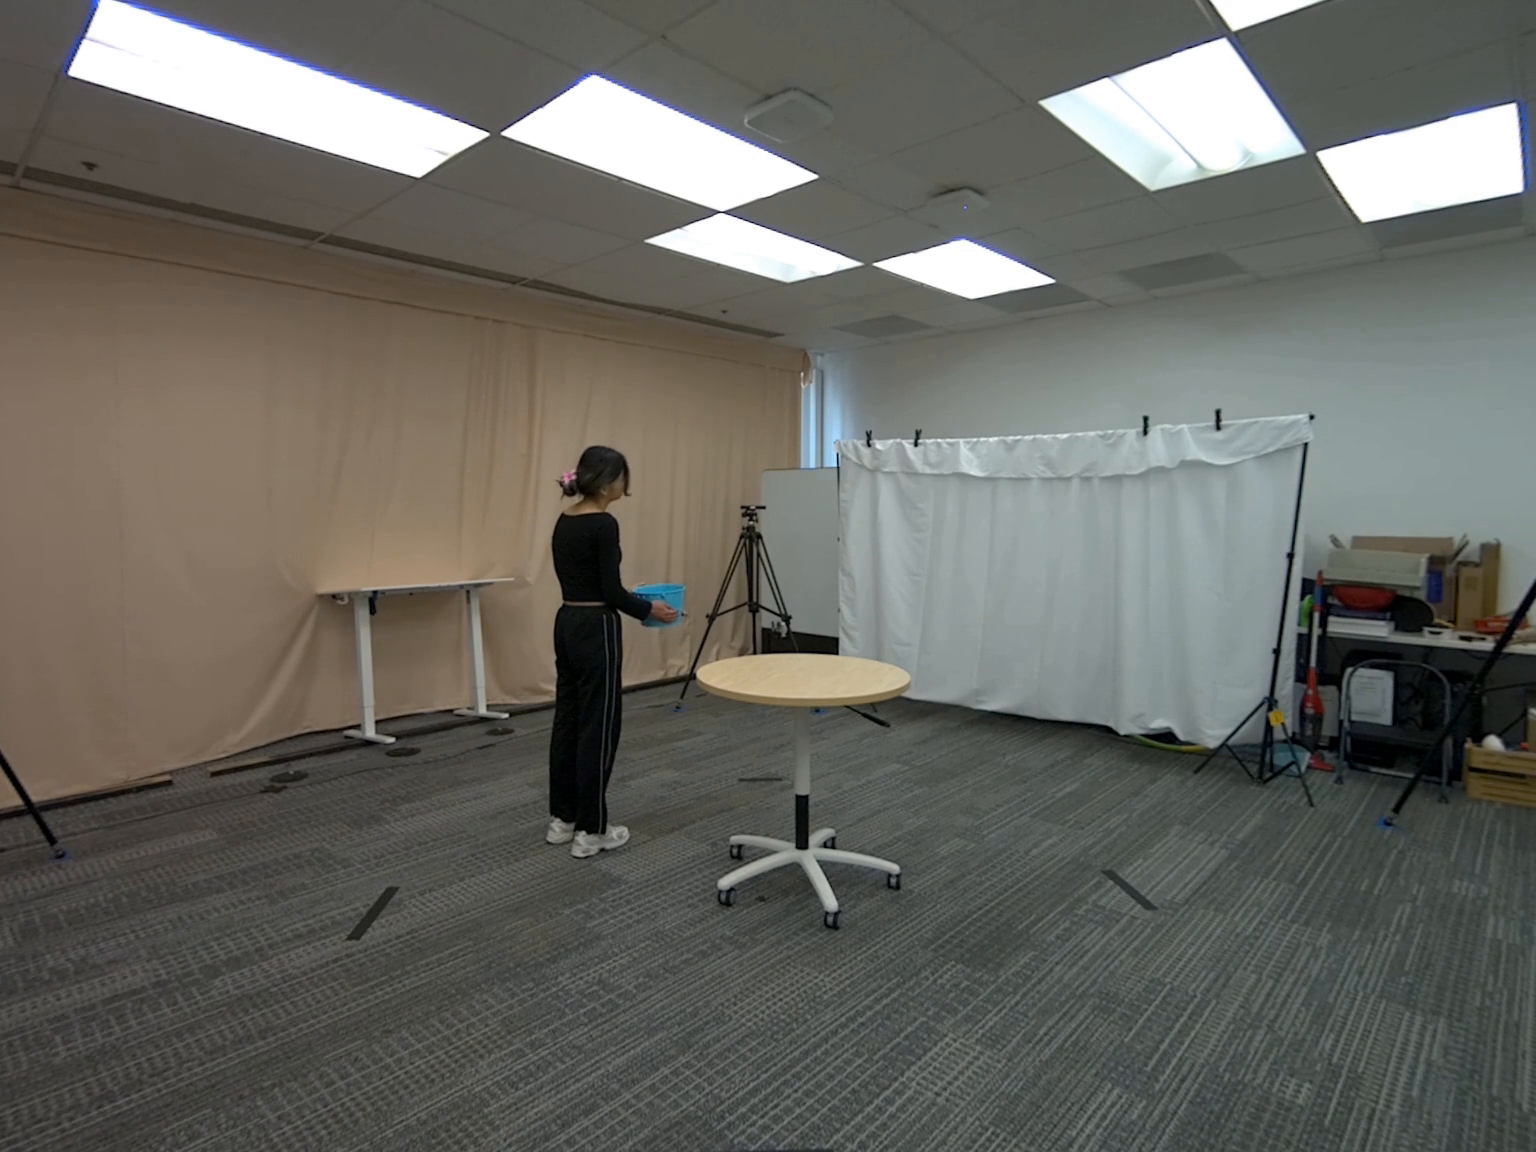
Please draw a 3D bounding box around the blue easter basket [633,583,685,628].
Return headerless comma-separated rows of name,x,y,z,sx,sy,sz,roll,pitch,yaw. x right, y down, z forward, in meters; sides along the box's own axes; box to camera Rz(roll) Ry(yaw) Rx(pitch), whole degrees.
blue easter basket,-0.480,0.136,3.668,0.243,0.155,0.245,-3,11,-1
